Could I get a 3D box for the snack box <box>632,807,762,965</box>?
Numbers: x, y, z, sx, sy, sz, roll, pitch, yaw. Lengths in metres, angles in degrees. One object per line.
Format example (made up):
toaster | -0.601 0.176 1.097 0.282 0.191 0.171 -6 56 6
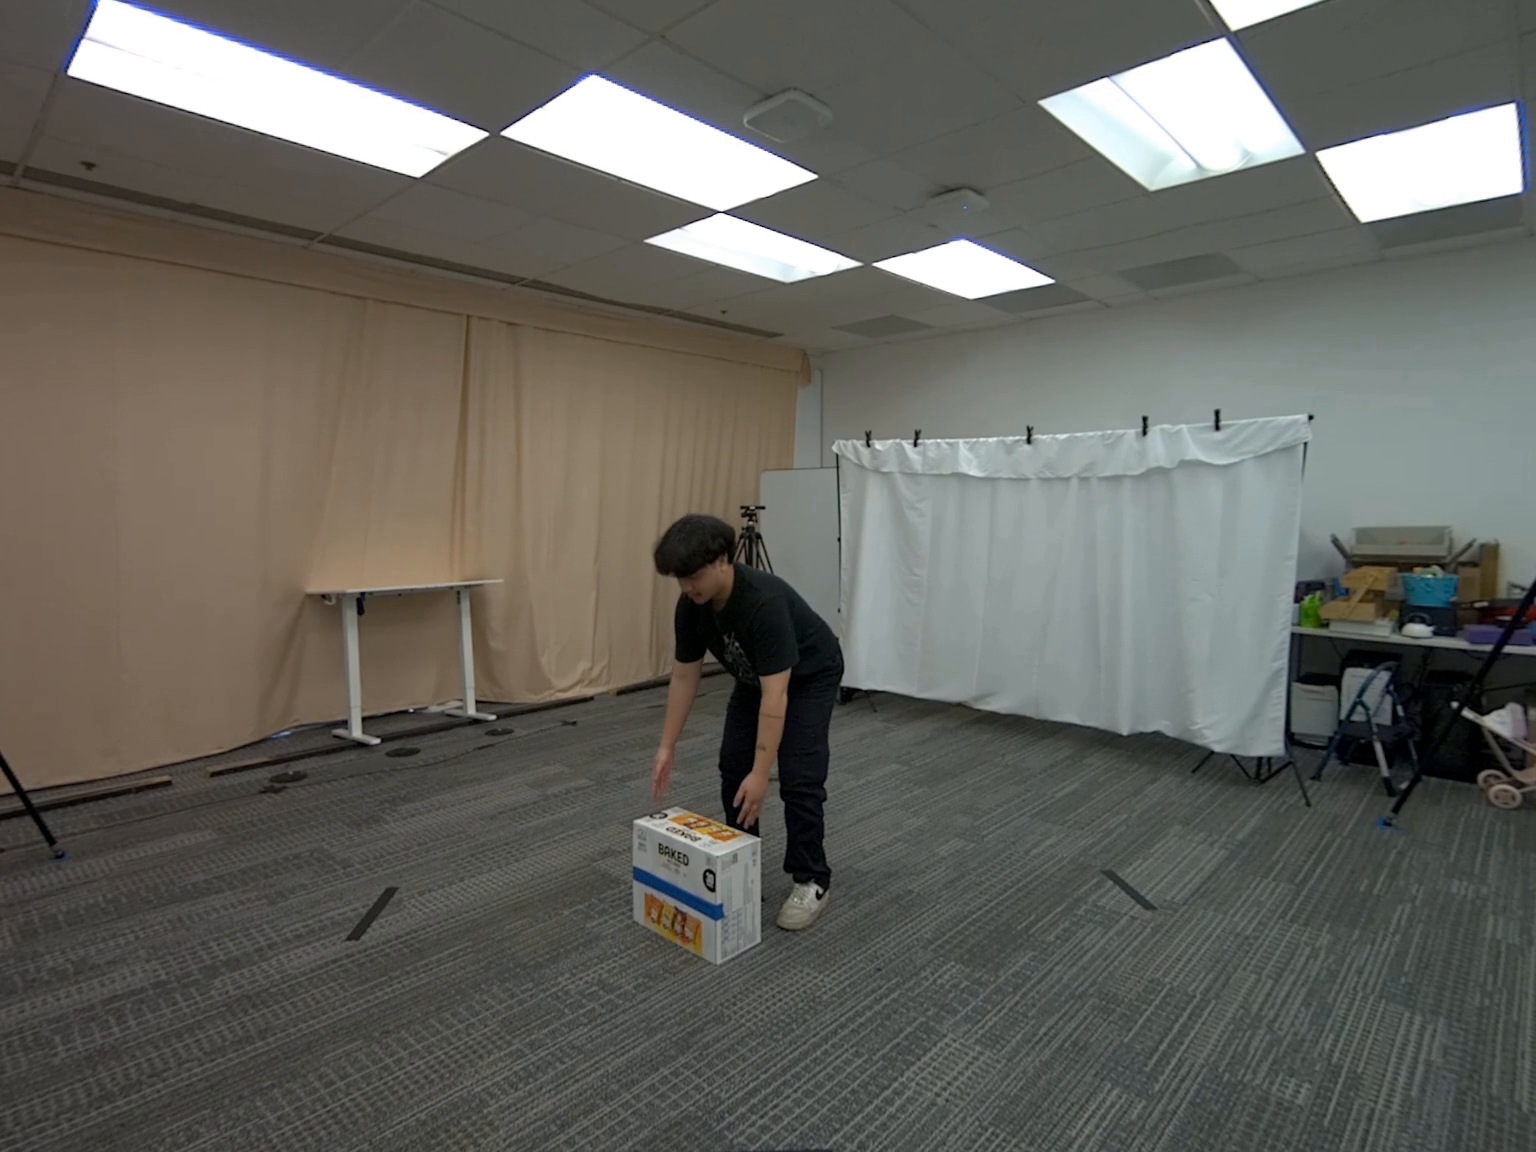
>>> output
snack box | -0.235 0.996 2.750 0.419 0.340 0.199 4 5 44
